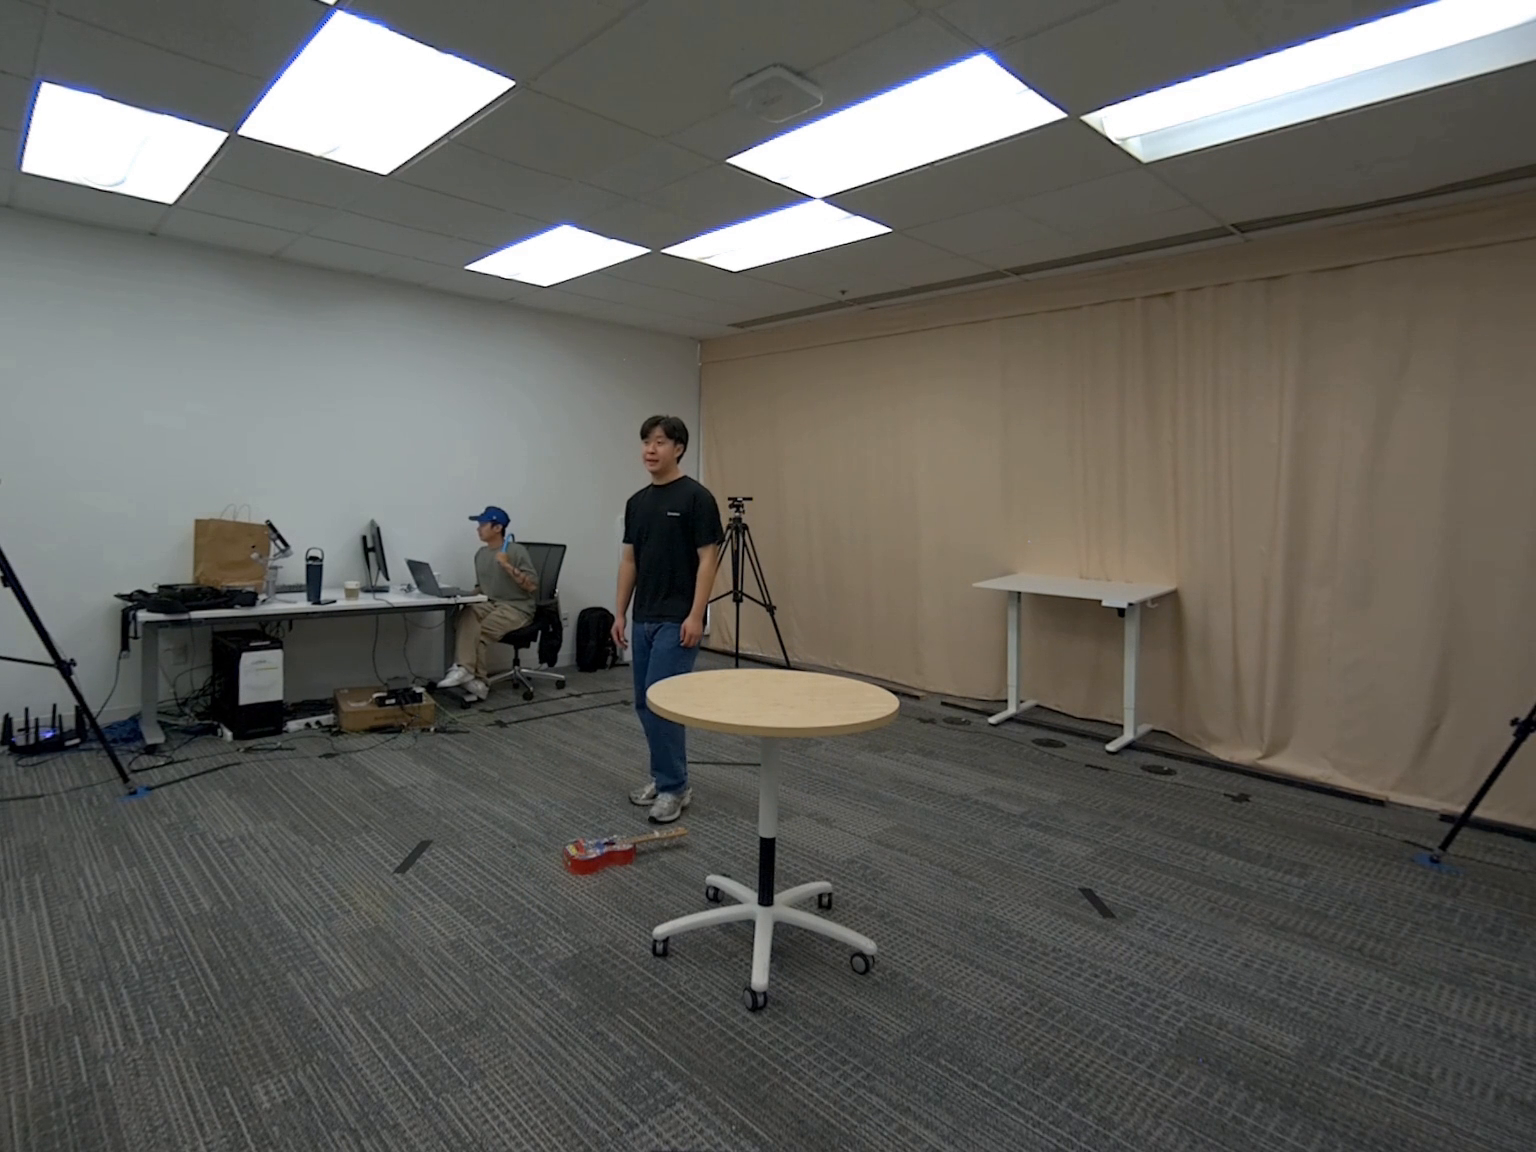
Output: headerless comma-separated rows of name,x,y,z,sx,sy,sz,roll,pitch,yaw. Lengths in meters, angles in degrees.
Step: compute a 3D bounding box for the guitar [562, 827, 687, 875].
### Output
guitar,-0.545,1.056,3.232,0.491,0.070,0.196,0,5,-18
